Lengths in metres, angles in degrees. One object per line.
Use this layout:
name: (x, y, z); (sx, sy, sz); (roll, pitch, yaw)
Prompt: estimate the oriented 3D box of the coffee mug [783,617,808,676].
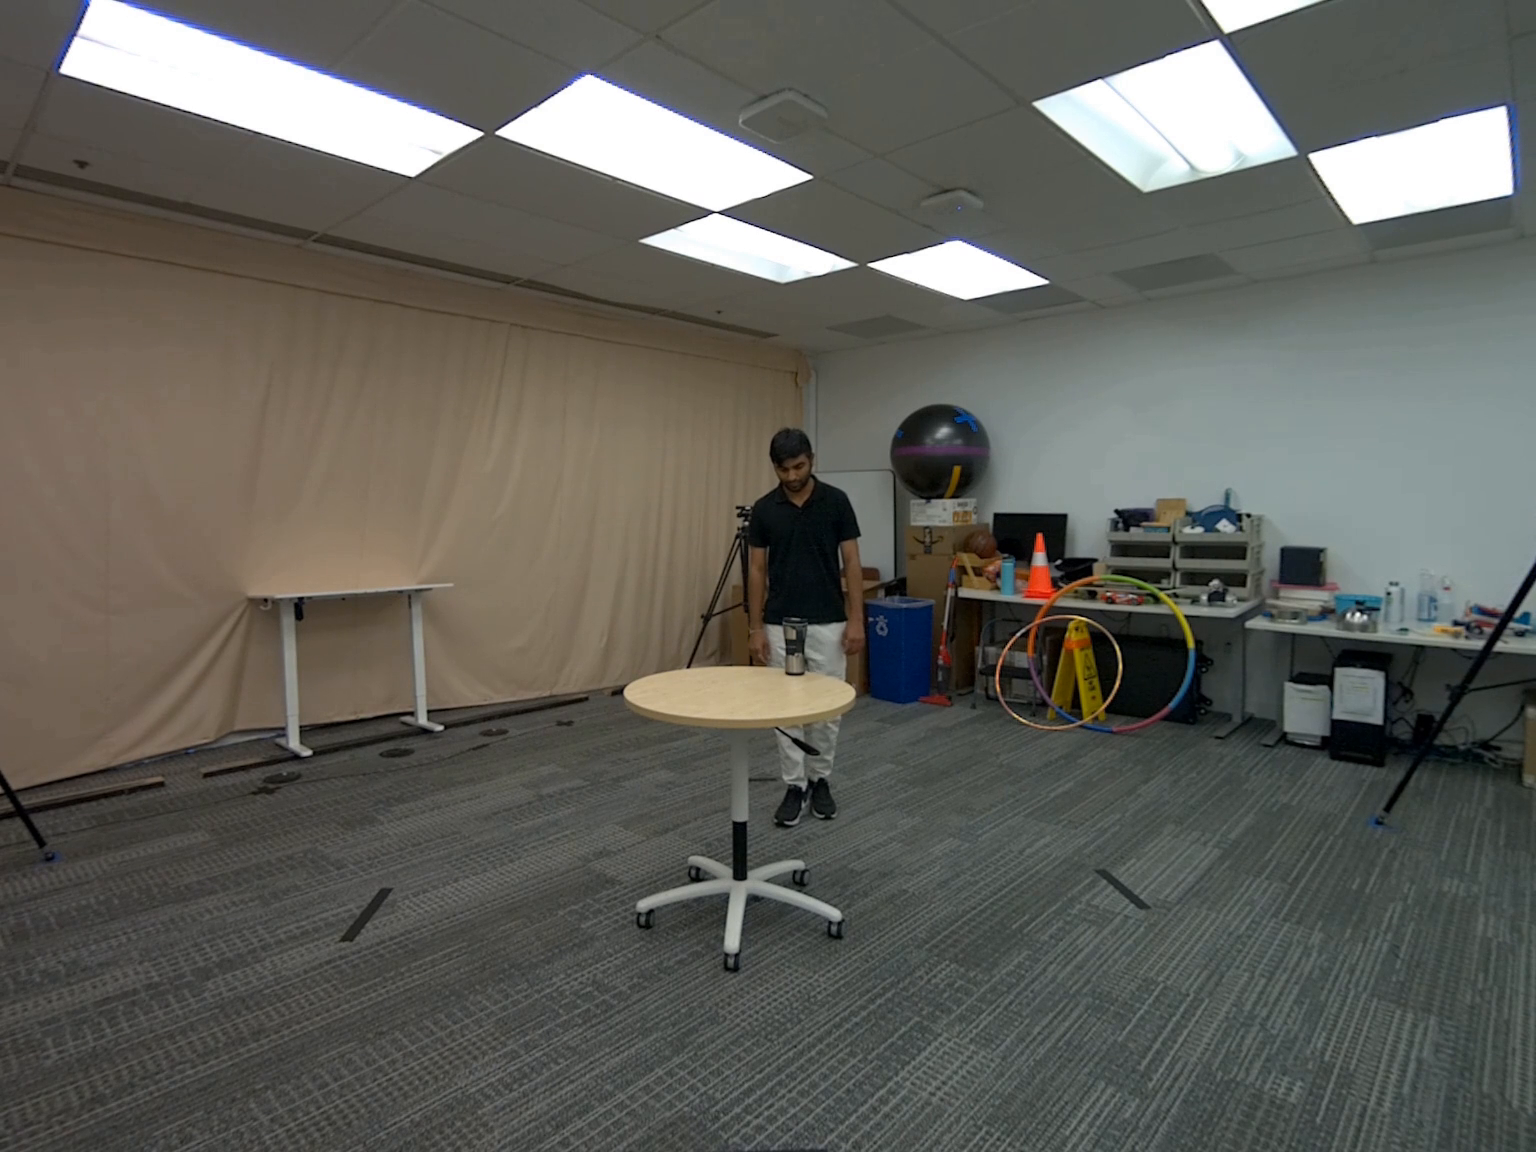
coffee mug: (0.101, 0.257, 3.020); (0.089, 0.203, 0.120); (5, 2, 16)
